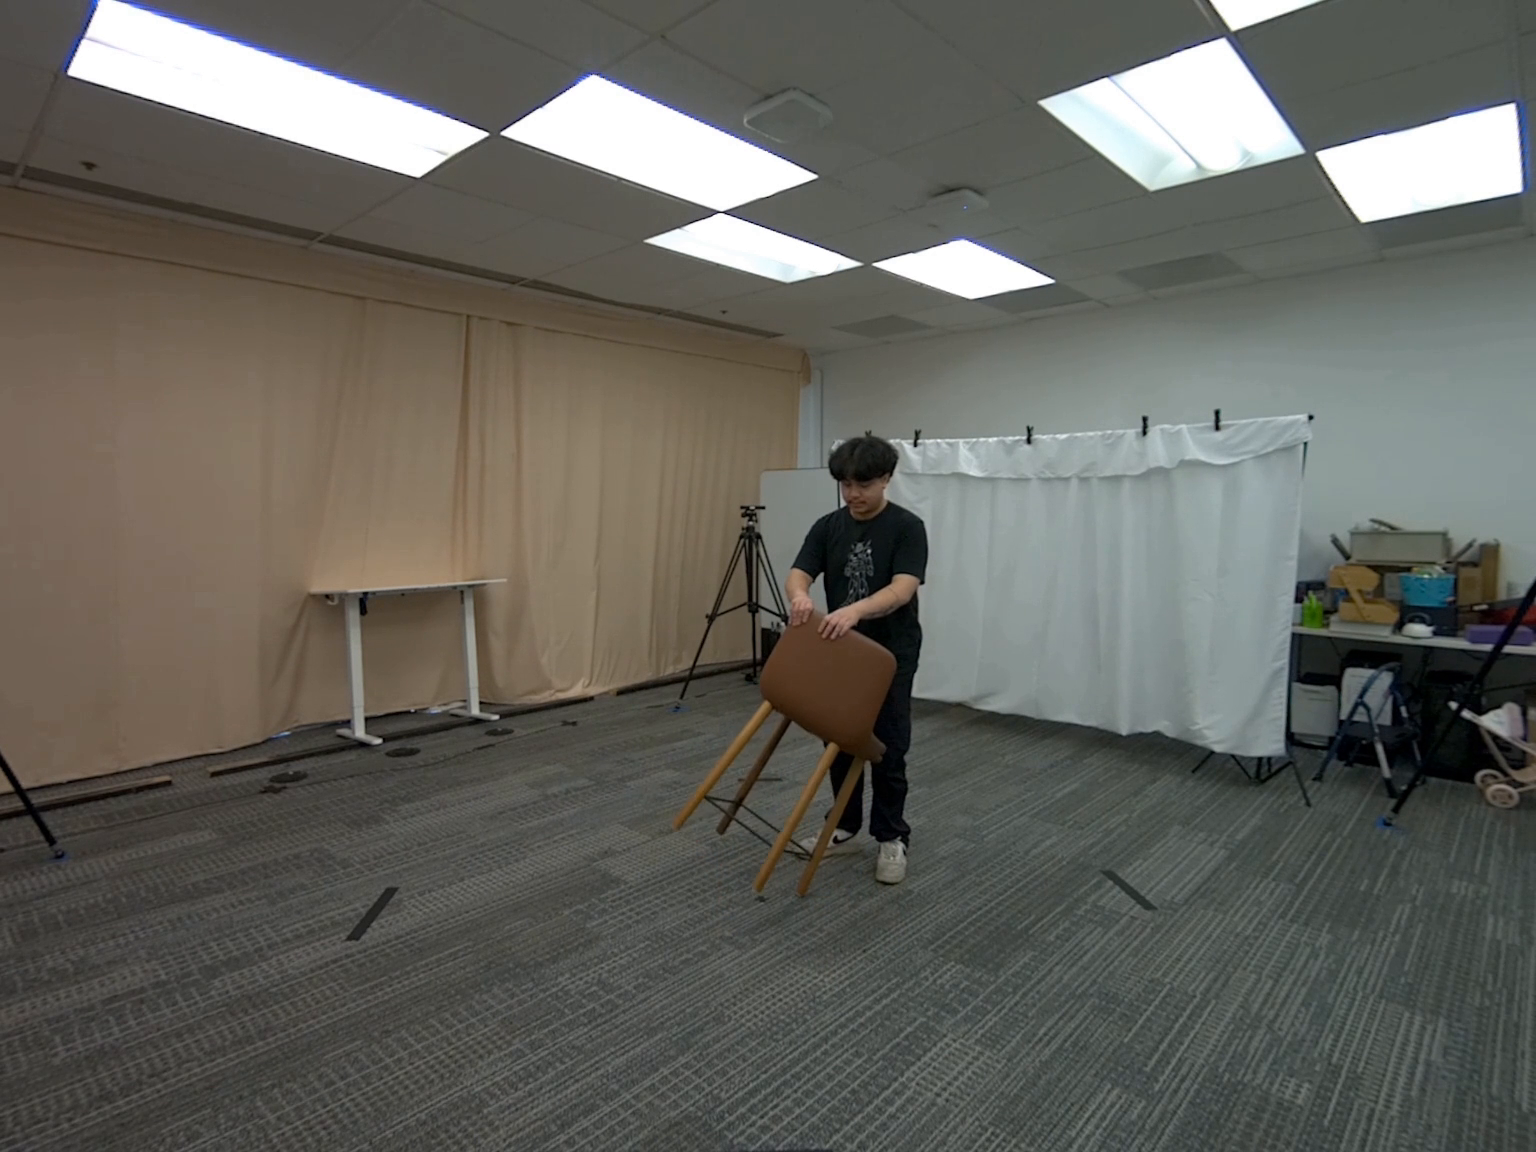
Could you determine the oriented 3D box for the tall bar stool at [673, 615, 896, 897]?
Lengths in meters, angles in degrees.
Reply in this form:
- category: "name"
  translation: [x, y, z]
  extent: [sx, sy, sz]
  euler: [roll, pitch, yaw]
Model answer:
- category: "tall bar stool"
  translation: [0.112, 0.617, 2.964]
  extent: [0.471, 0.890, 0.453]
  euler: [26, -6, 29]
